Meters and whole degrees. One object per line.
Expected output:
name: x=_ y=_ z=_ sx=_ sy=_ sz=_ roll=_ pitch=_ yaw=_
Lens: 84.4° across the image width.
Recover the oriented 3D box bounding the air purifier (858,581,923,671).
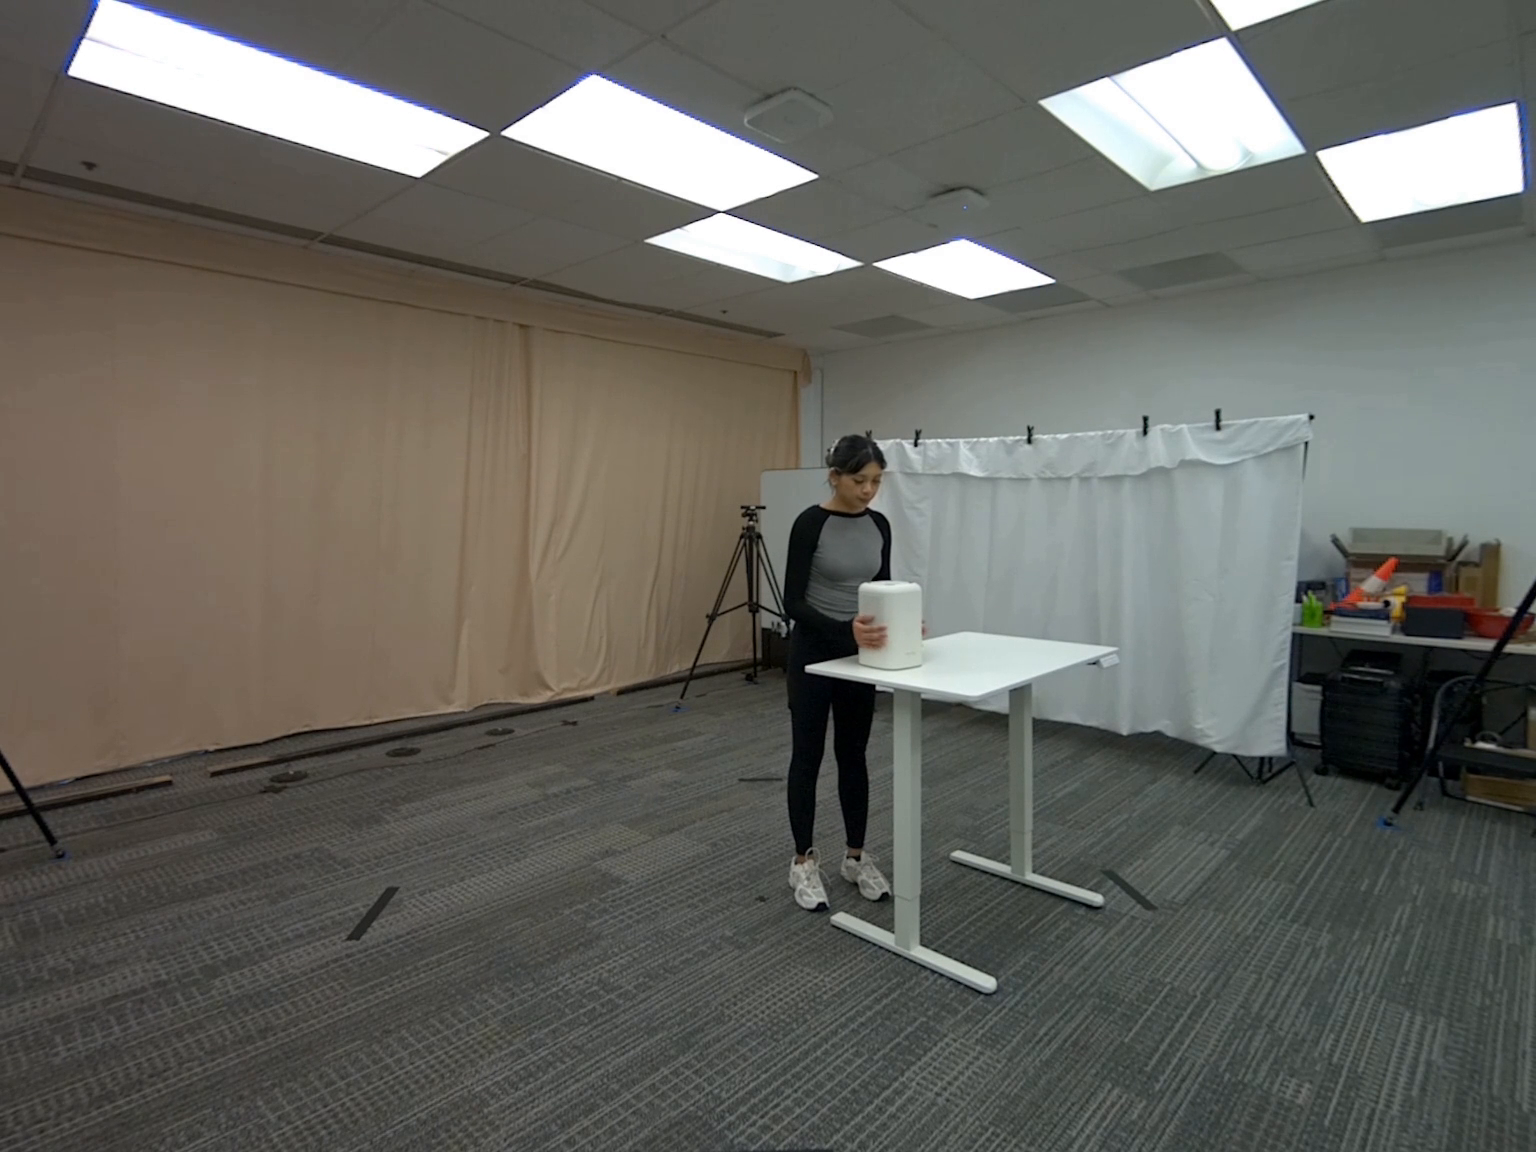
air purifier: x=0.392 y=0.154 z=2.701 sx=0.166 sy=0.265 sz=0.177 roll=-5 pitch=4 yaw=-34
